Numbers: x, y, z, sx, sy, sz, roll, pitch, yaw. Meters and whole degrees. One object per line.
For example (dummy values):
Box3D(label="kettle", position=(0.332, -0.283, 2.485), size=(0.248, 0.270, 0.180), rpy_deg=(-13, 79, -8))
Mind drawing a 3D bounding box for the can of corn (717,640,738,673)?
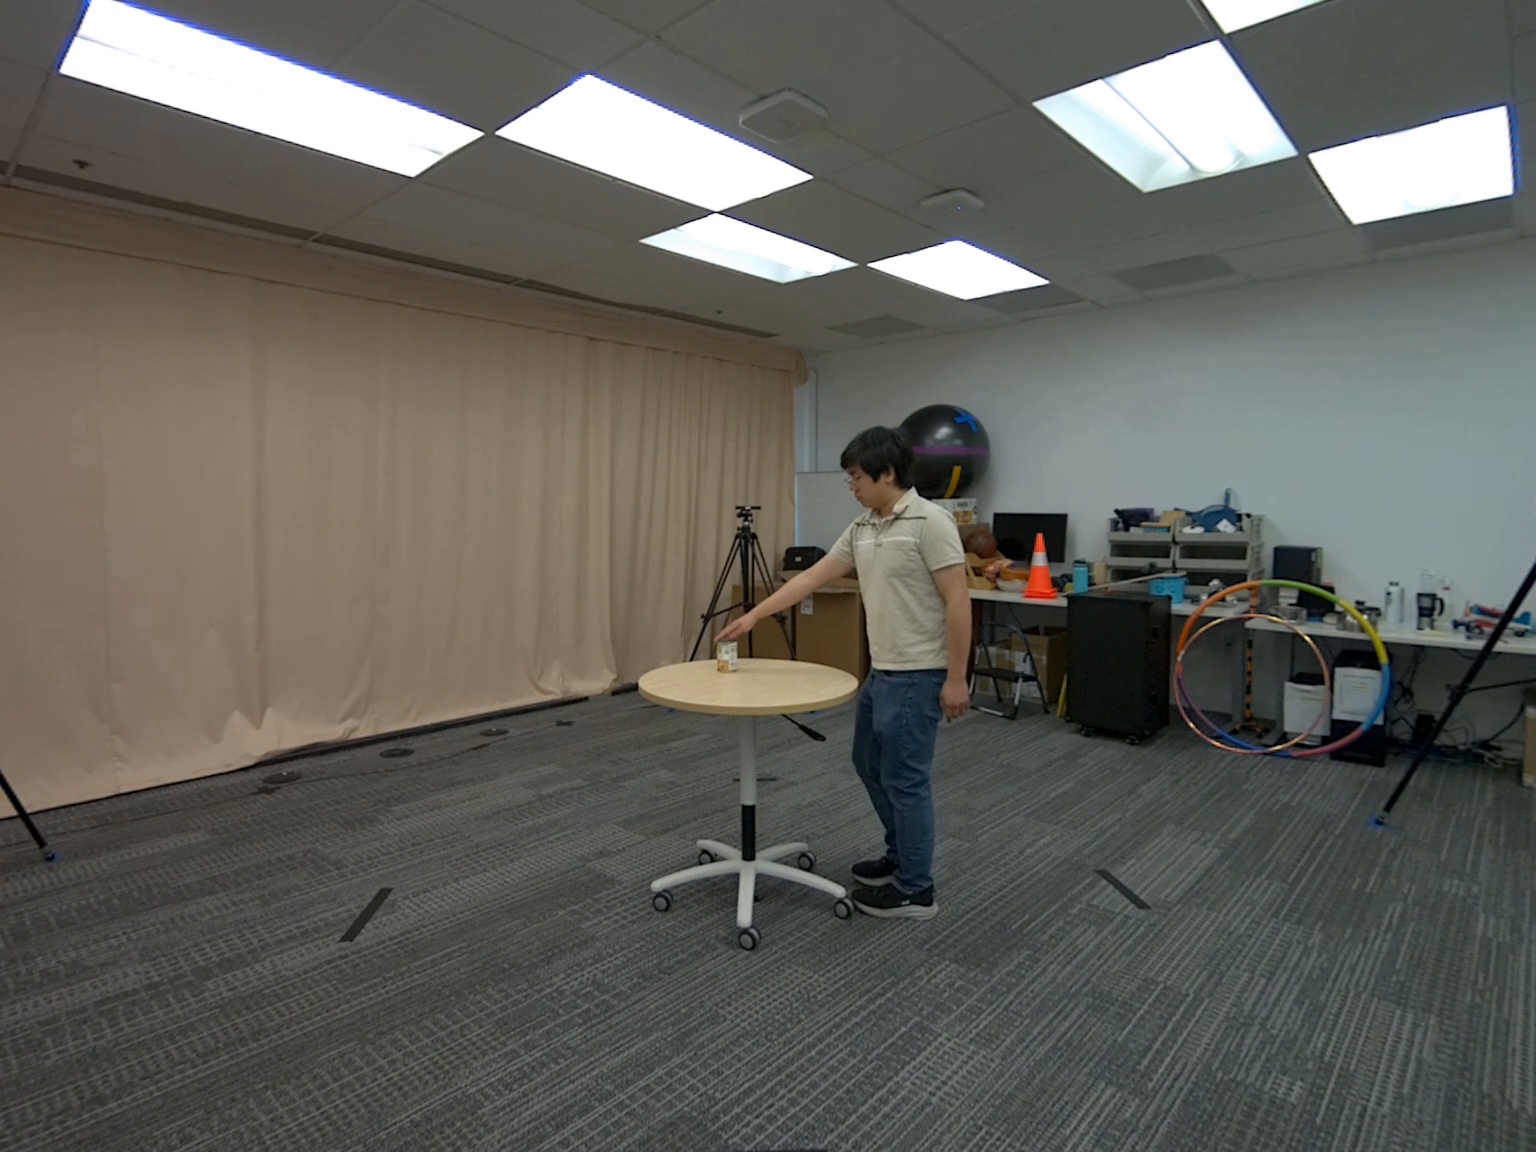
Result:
Box3D(label="can of corn", position=(-0.146, 0.297, 3.101), size=(0.074, 0.111, 0.074), rpy_deg=(1, 1, -2))
